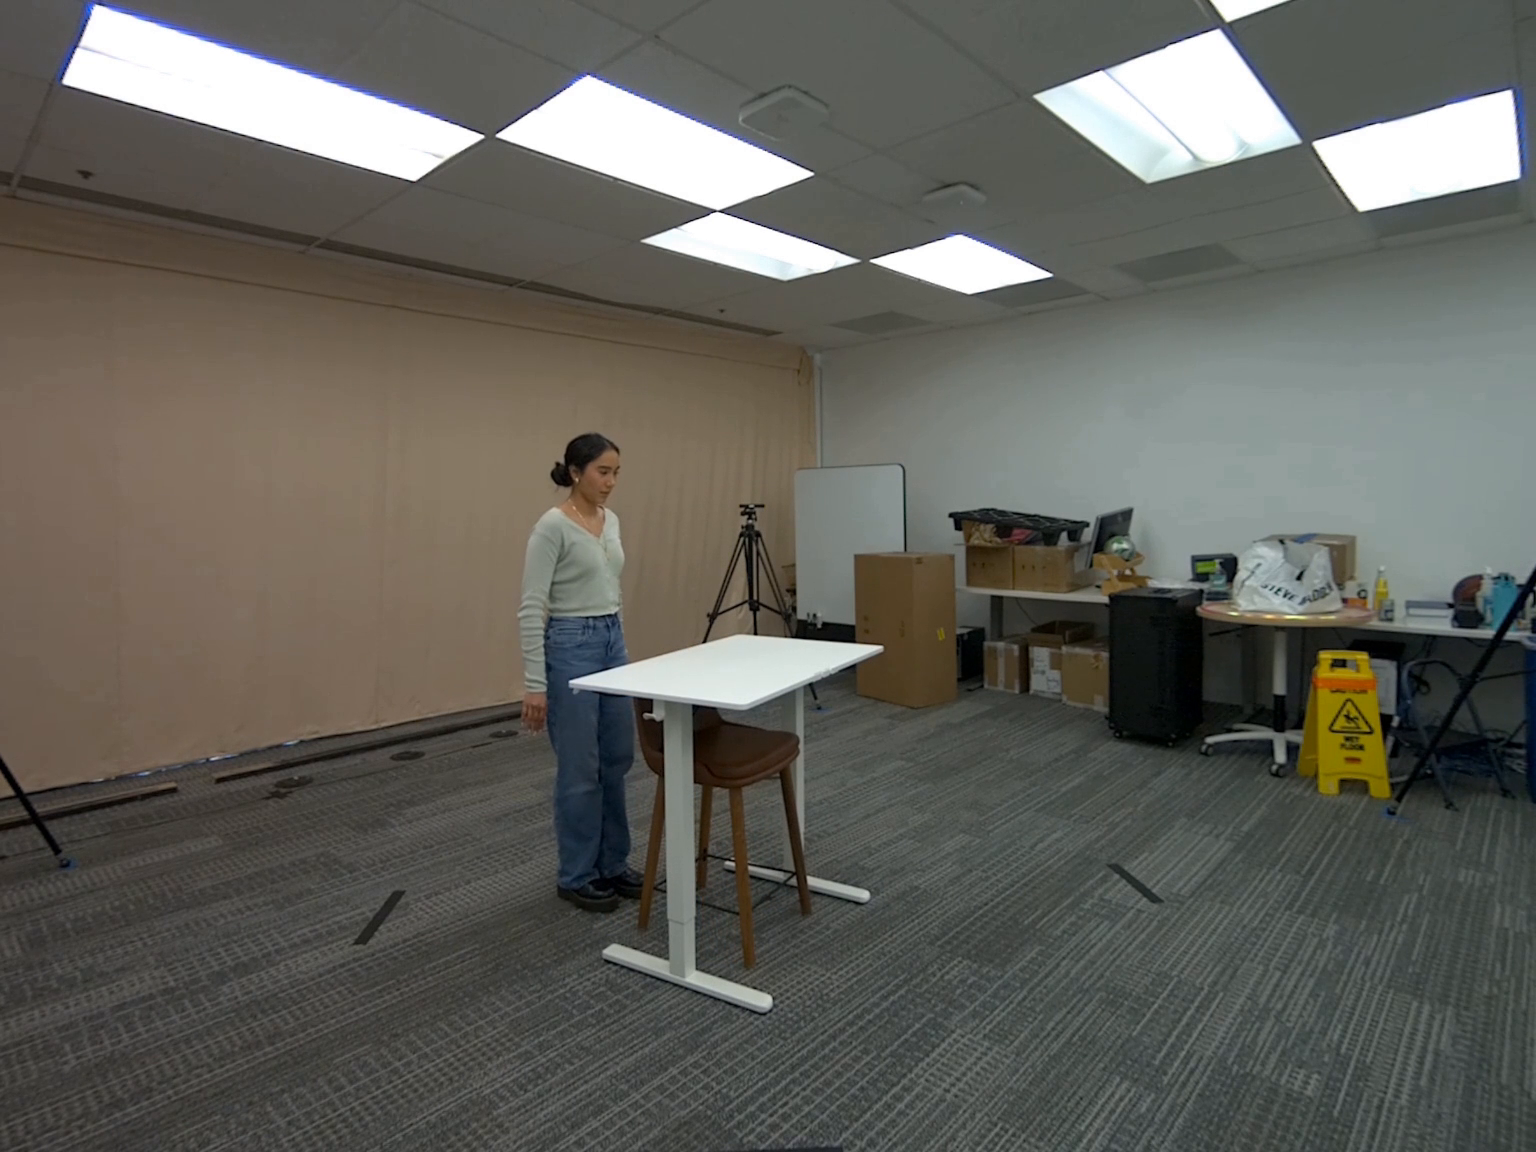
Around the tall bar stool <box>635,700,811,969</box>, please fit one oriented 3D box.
[{"bbox_3d":[-0.159,0.728,2.790,0.481,0.888,0.444,-2,2,31],"label":"tall bar stool"}]
